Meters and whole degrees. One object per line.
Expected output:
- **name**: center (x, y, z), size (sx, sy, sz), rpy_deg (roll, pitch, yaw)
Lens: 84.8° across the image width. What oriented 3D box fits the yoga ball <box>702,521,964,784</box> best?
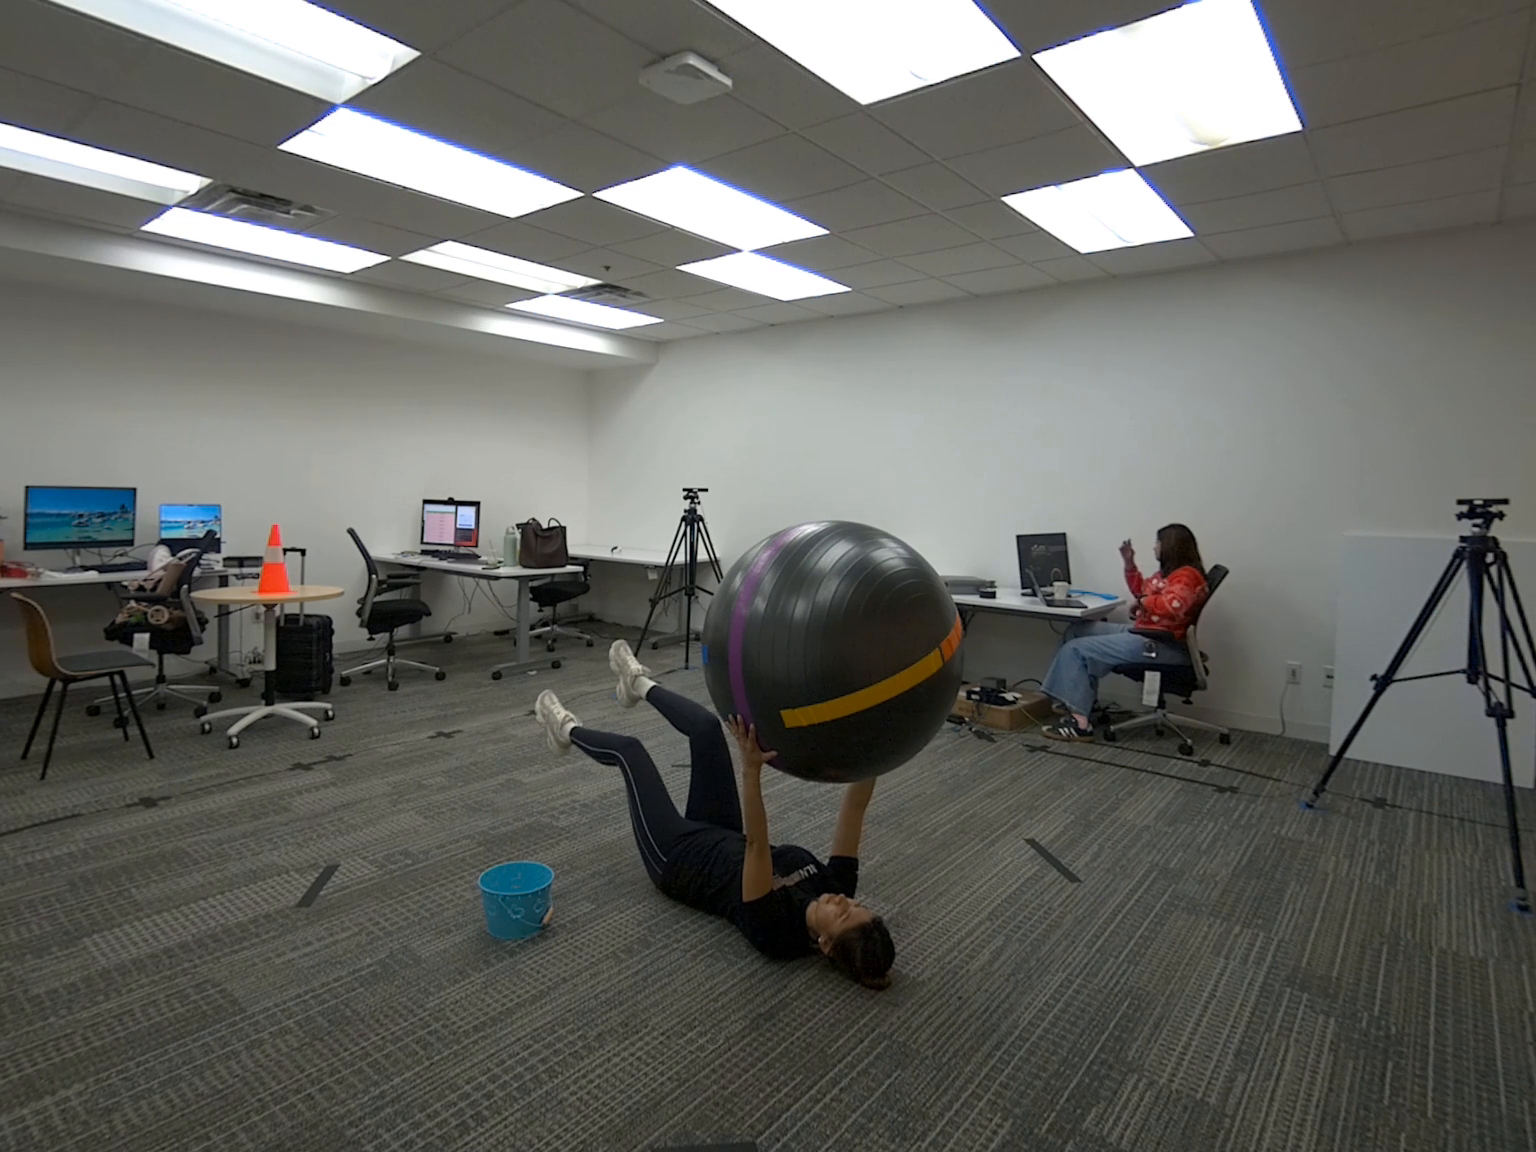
- **yoga ball**: center (0.179, 0.216, 2.494), size (0.757, 0.756, 0.761), rpy_deg (-3, 3, -2)
